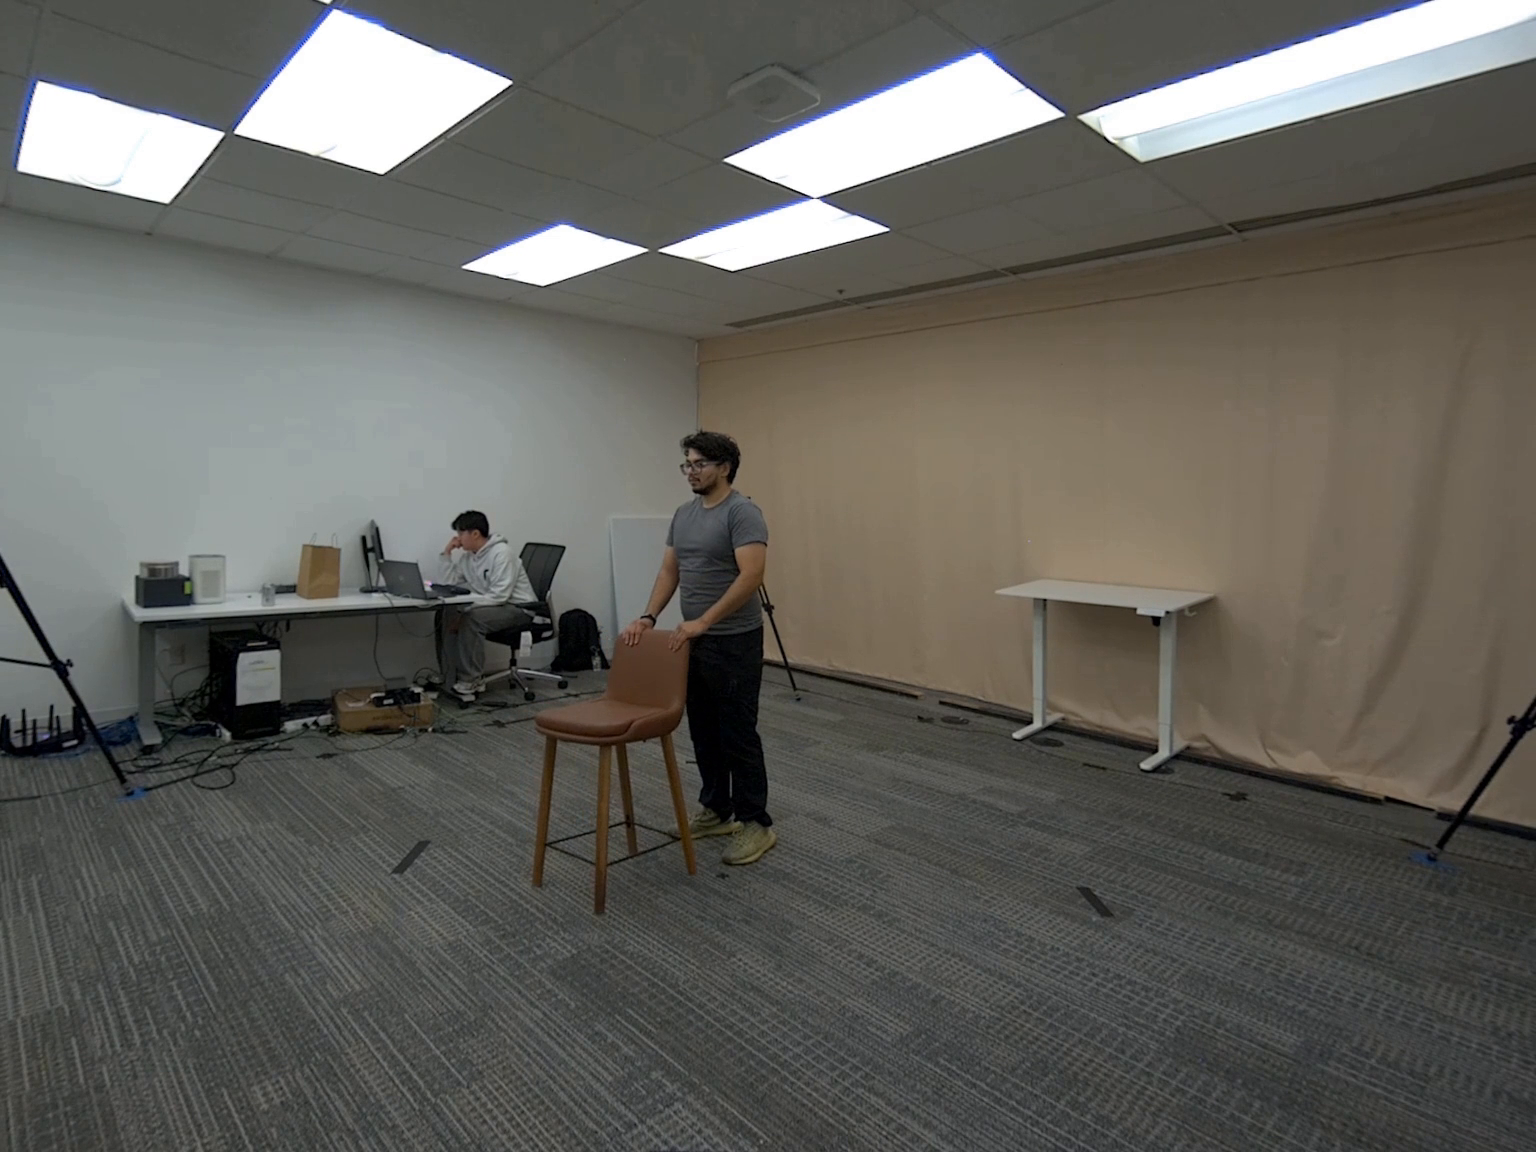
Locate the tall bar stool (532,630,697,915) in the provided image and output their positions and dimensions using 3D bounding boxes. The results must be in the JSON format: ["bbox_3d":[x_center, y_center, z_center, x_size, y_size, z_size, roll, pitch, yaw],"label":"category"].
[{"bbox_3d":[-0.553,0.653,3.022,0.467,0.891,0.456,-2,-2,44],"label":"tall bar stool"}]
